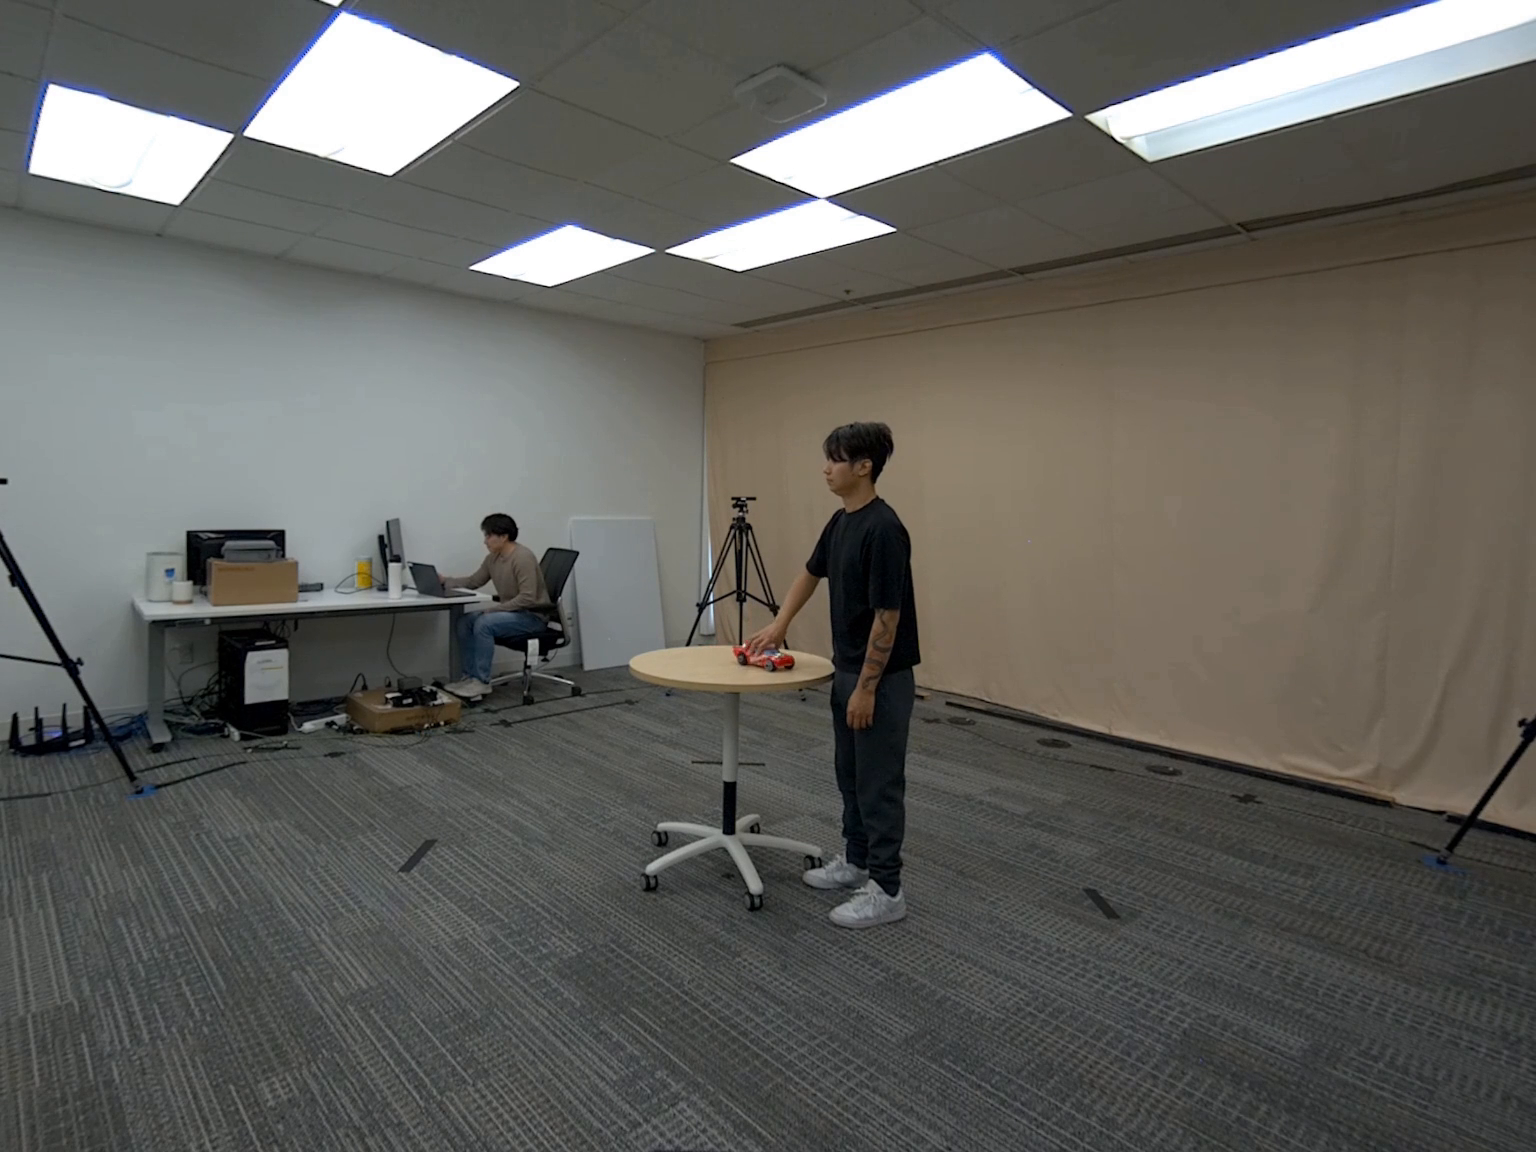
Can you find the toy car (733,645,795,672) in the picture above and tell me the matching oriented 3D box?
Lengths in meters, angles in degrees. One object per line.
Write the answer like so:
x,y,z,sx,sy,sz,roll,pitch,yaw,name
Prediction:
-0.025,0.296,3.070,0.127,0.082,0.262,-1,15,-42,toy car
